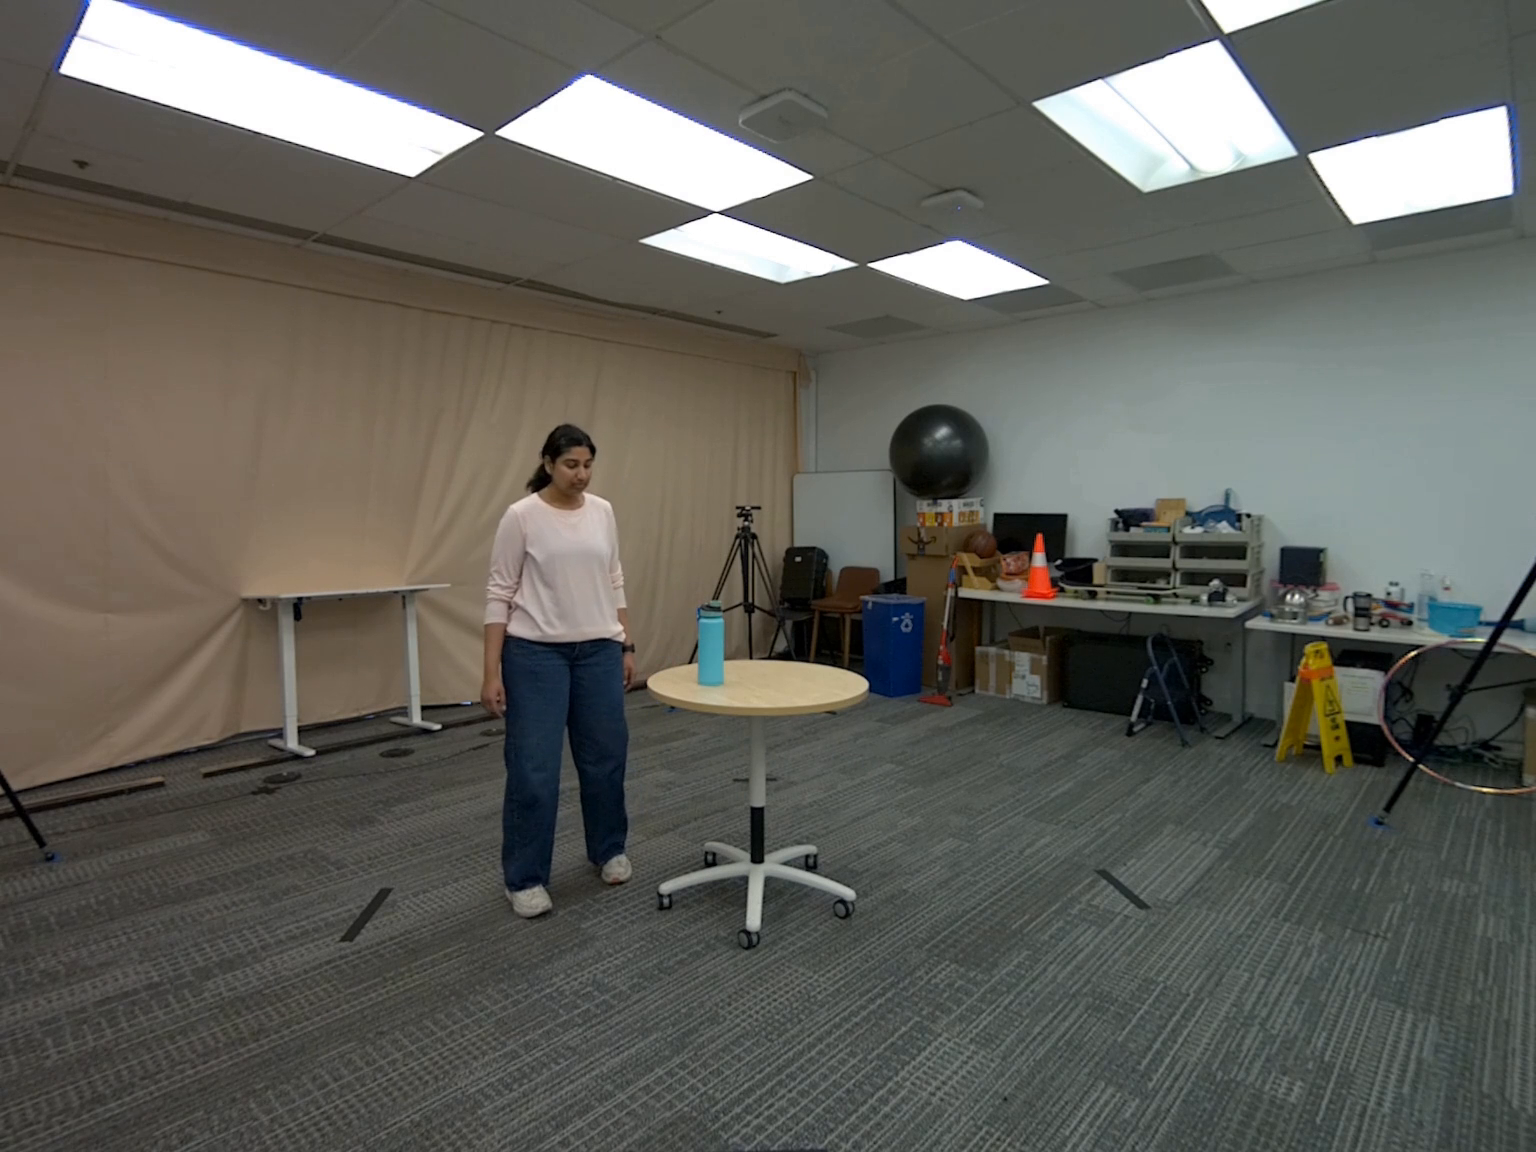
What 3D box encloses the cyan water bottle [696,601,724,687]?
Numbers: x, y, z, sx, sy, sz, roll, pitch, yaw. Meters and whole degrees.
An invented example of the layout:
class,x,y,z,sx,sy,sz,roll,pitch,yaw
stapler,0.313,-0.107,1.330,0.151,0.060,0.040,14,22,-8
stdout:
class,x,y,z,sx,sy,sz,roll,pitch,yaw
cyan water bottle,-0.196,0.229,2.875,0.092,0.282,0.093,-2,4,-2
